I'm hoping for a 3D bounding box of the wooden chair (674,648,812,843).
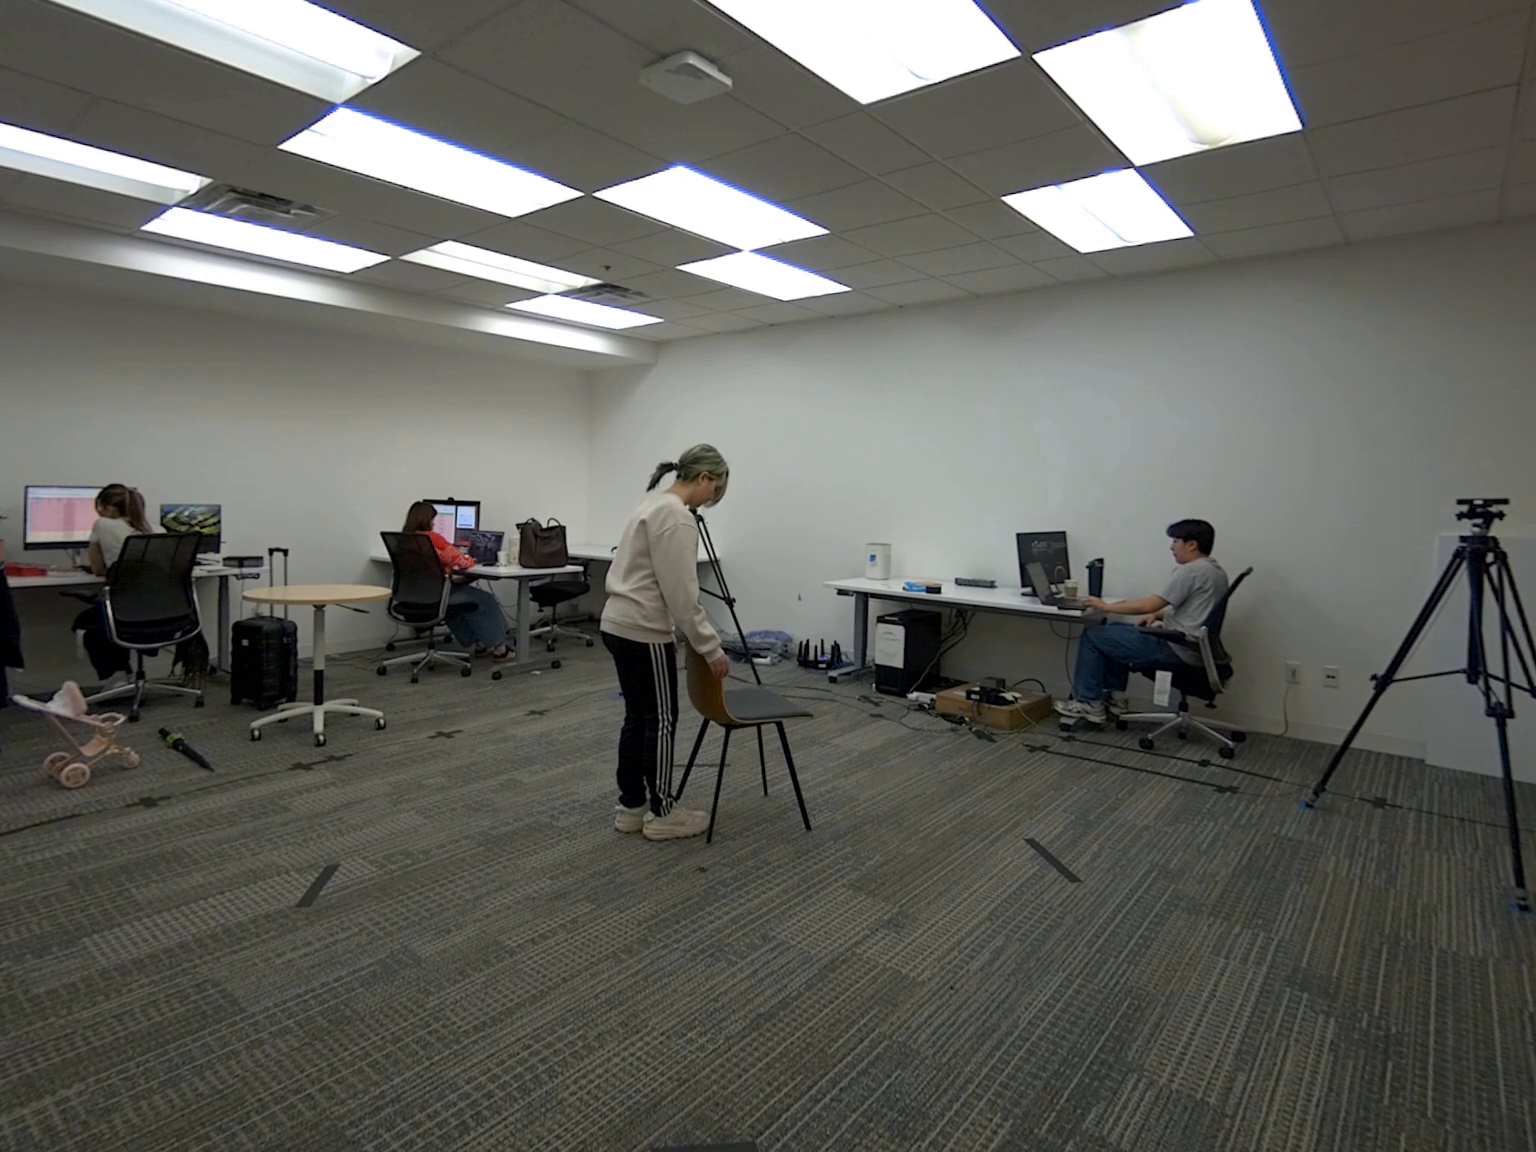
[{"bbox_3d":[-0.111,0.601,3.592,0.513,0.874,0.490,-5,5,-22],"label":"wooden chair"}]
